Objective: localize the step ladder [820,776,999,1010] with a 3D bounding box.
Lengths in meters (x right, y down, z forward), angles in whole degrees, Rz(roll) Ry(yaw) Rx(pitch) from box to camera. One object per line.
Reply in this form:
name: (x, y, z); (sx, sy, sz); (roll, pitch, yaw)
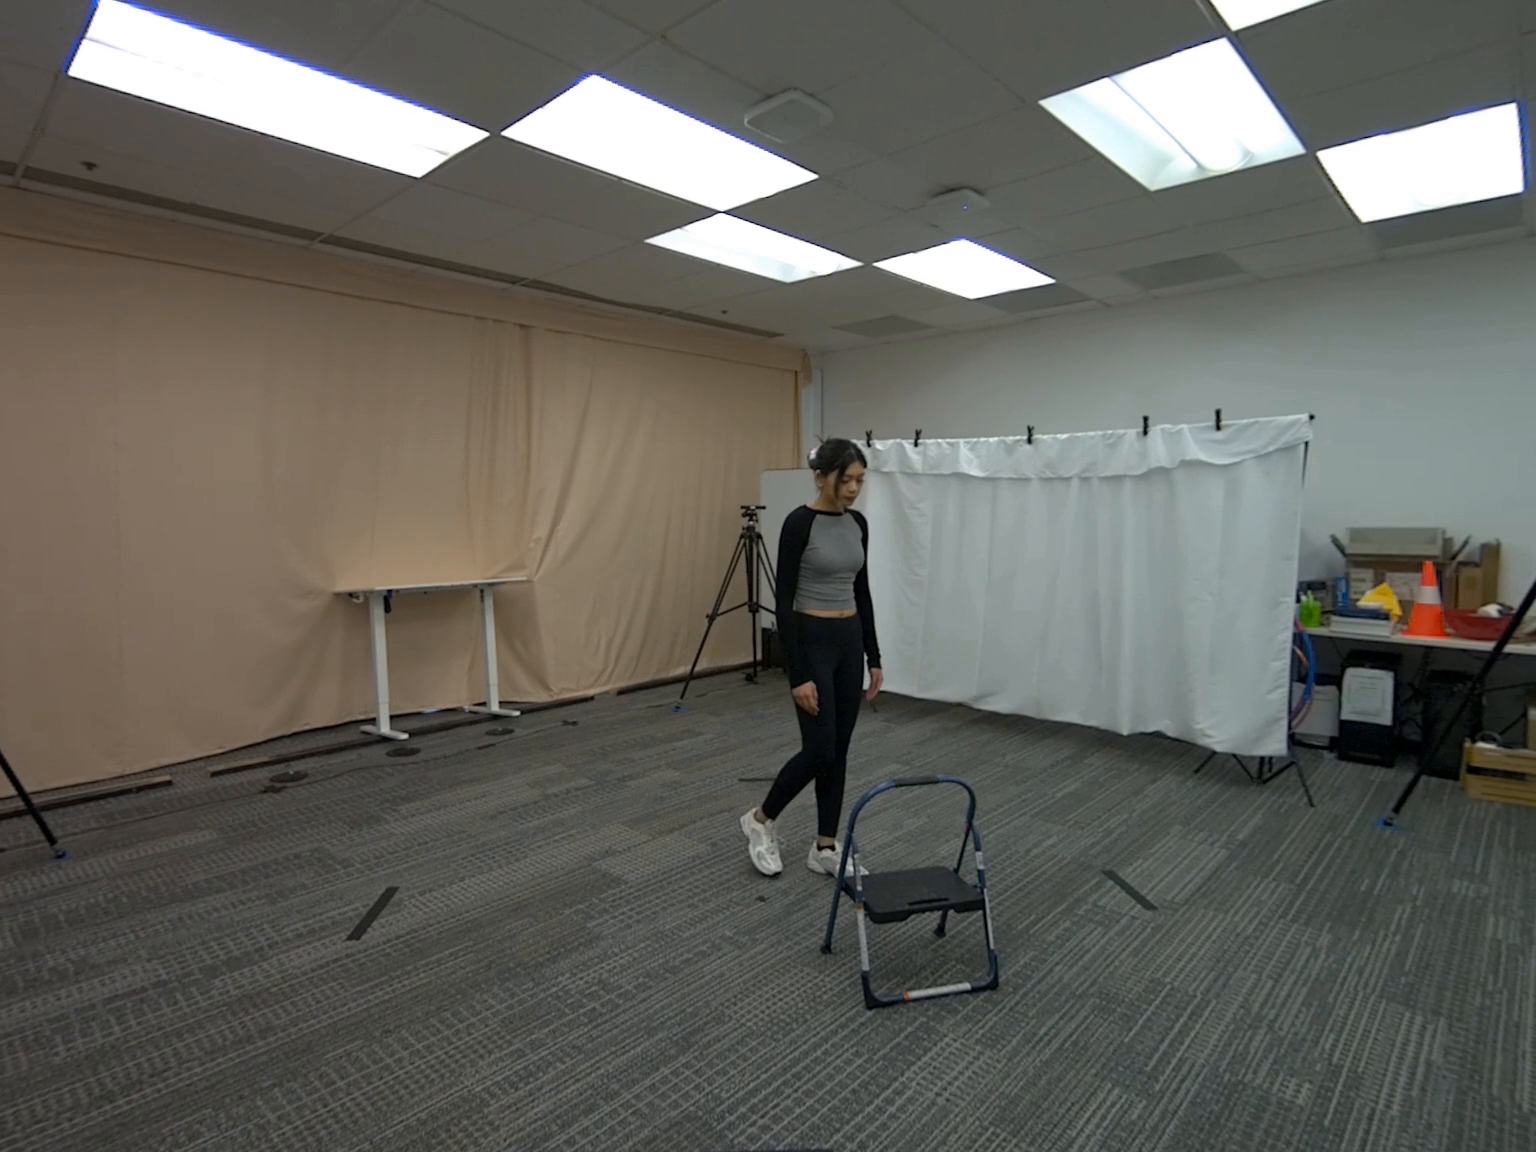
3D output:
step ladder: (0.424, 0.880, 2.518); (0.423, 0.604, 0.356); (-1, 4, -17)
